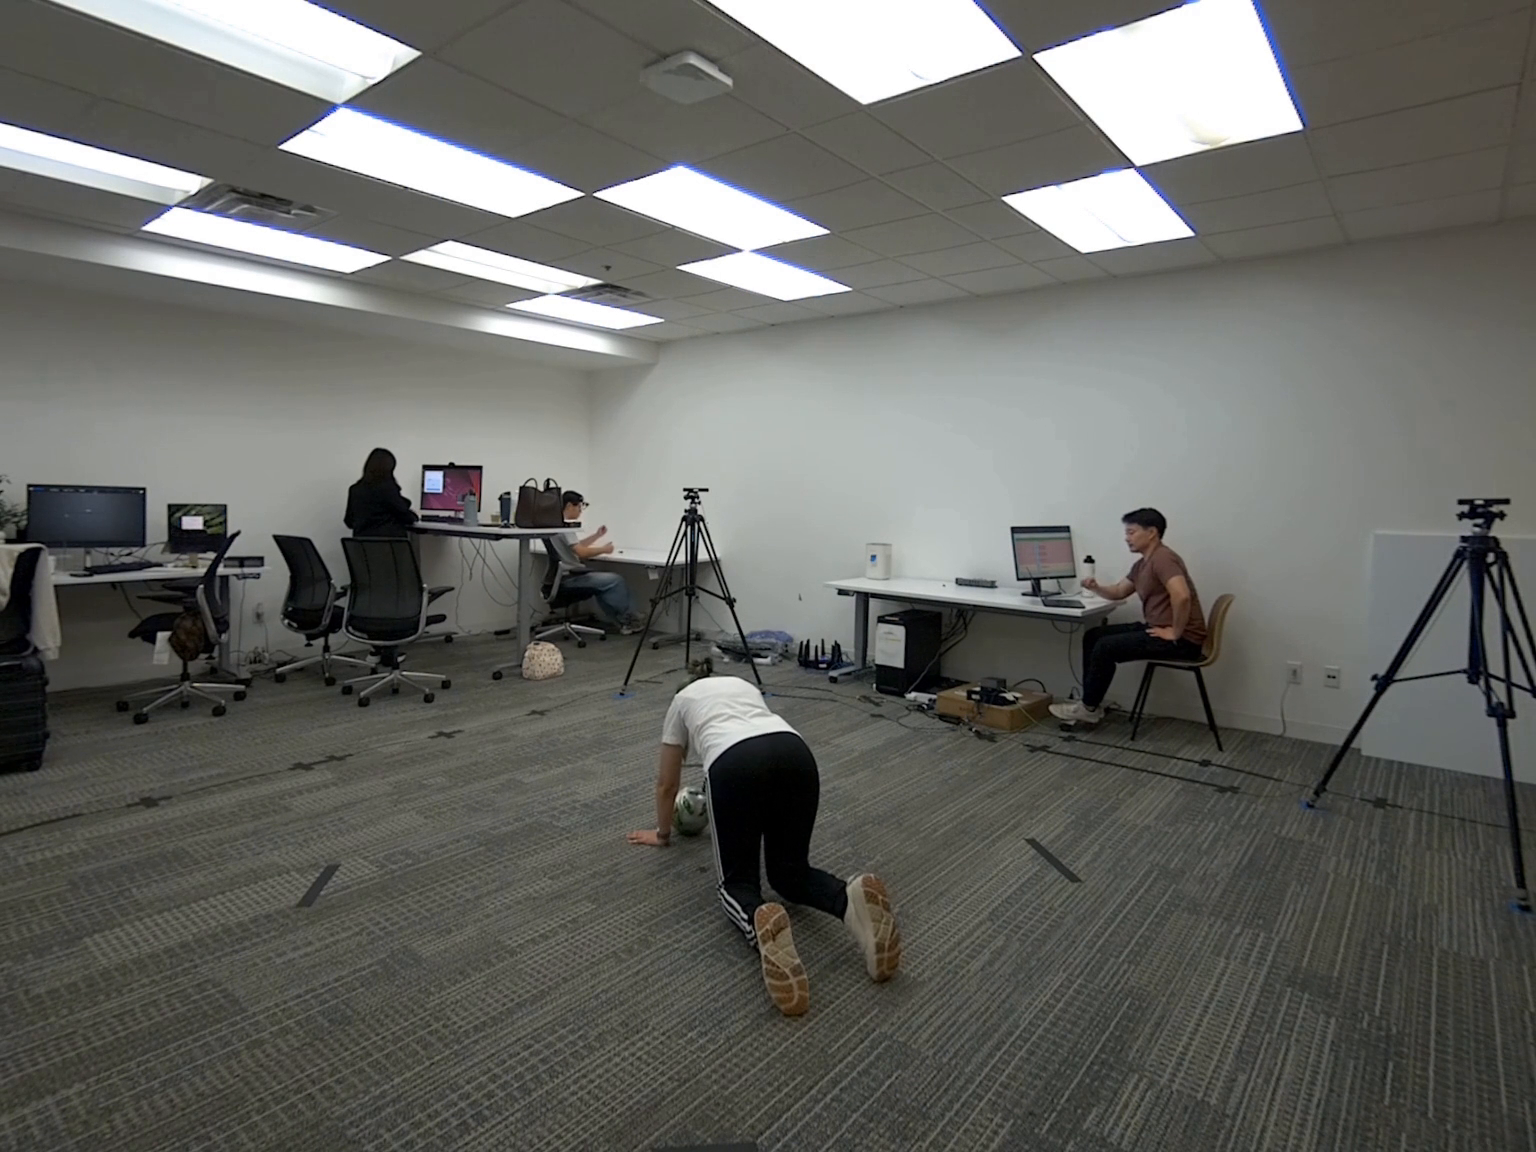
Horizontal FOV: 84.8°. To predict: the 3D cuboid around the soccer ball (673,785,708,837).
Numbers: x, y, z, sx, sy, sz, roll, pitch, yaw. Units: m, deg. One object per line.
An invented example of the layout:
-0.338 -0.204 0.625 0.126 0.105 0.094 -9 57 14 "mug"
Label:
-0.328 0.943 3.441 0.187 0.187 0.188 1 4 -2 "soccer ball"
